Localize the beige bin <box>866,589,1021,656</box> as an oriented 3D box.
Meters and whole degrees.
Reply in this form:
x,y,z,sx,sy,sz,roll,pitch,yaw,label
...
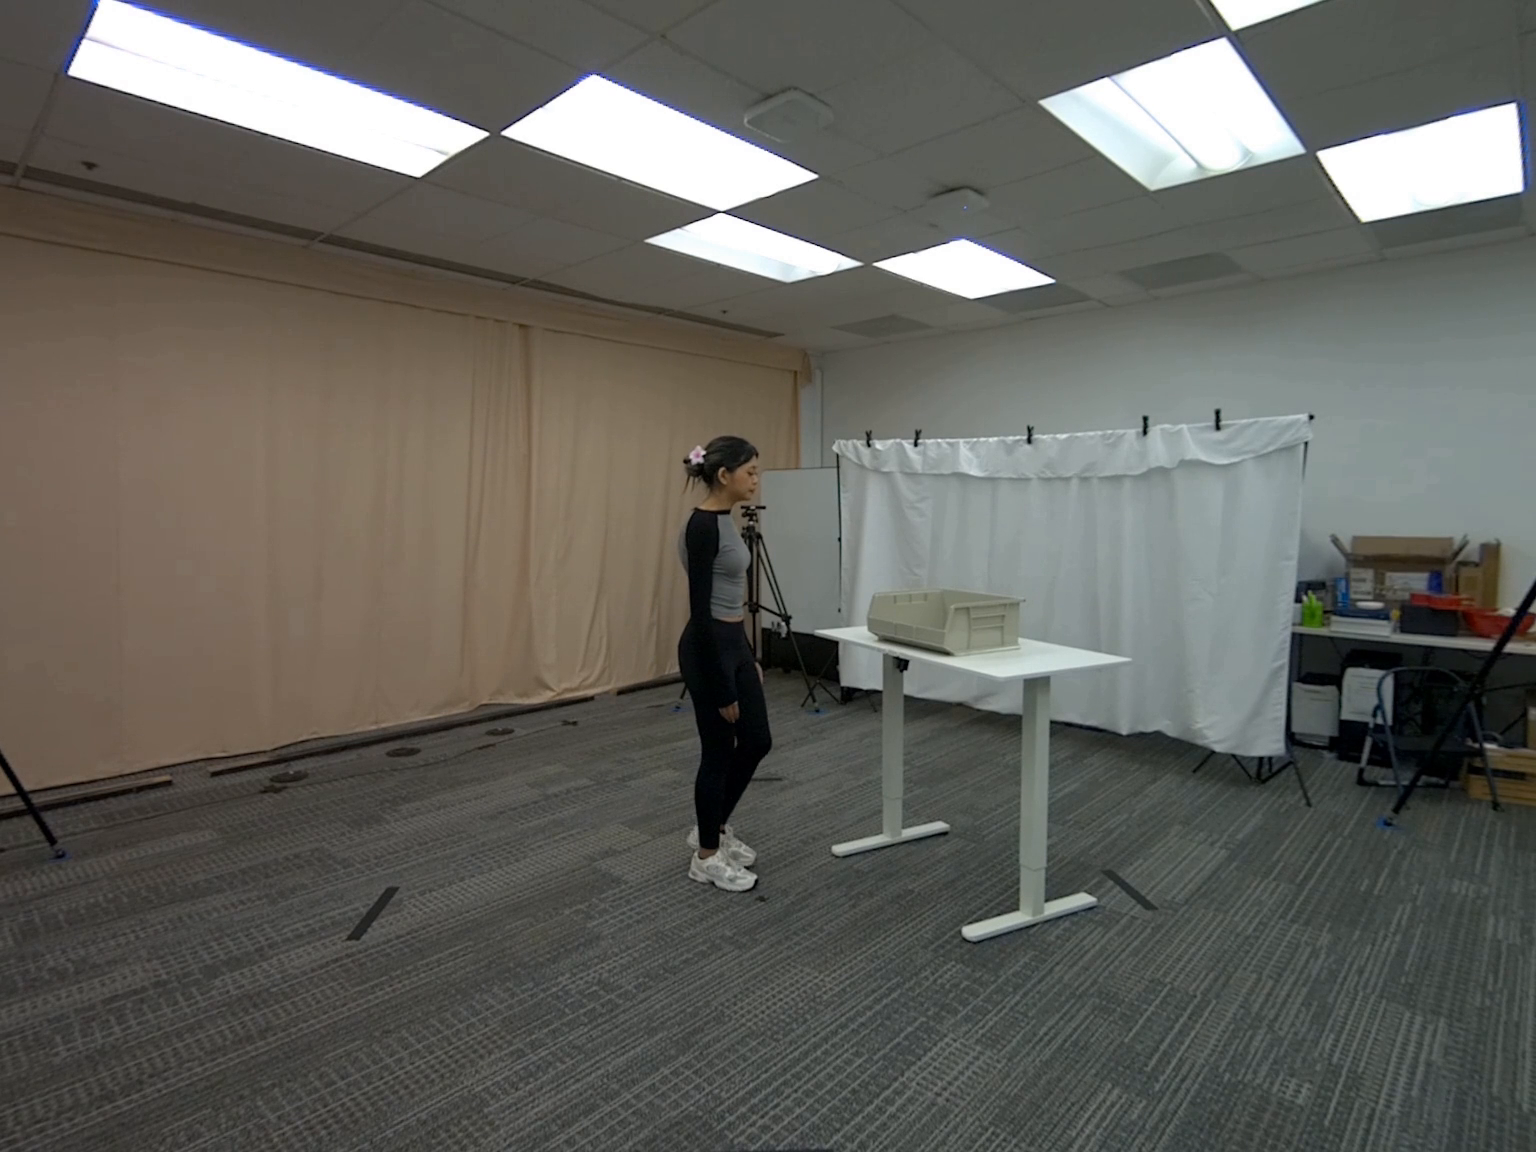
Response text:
x,y,z,sx,sy,sz,roll,pitch,yaw,label
0.647,0.164,3.072,0.367,0.188,0.435,-2,4,-31,beige bin
